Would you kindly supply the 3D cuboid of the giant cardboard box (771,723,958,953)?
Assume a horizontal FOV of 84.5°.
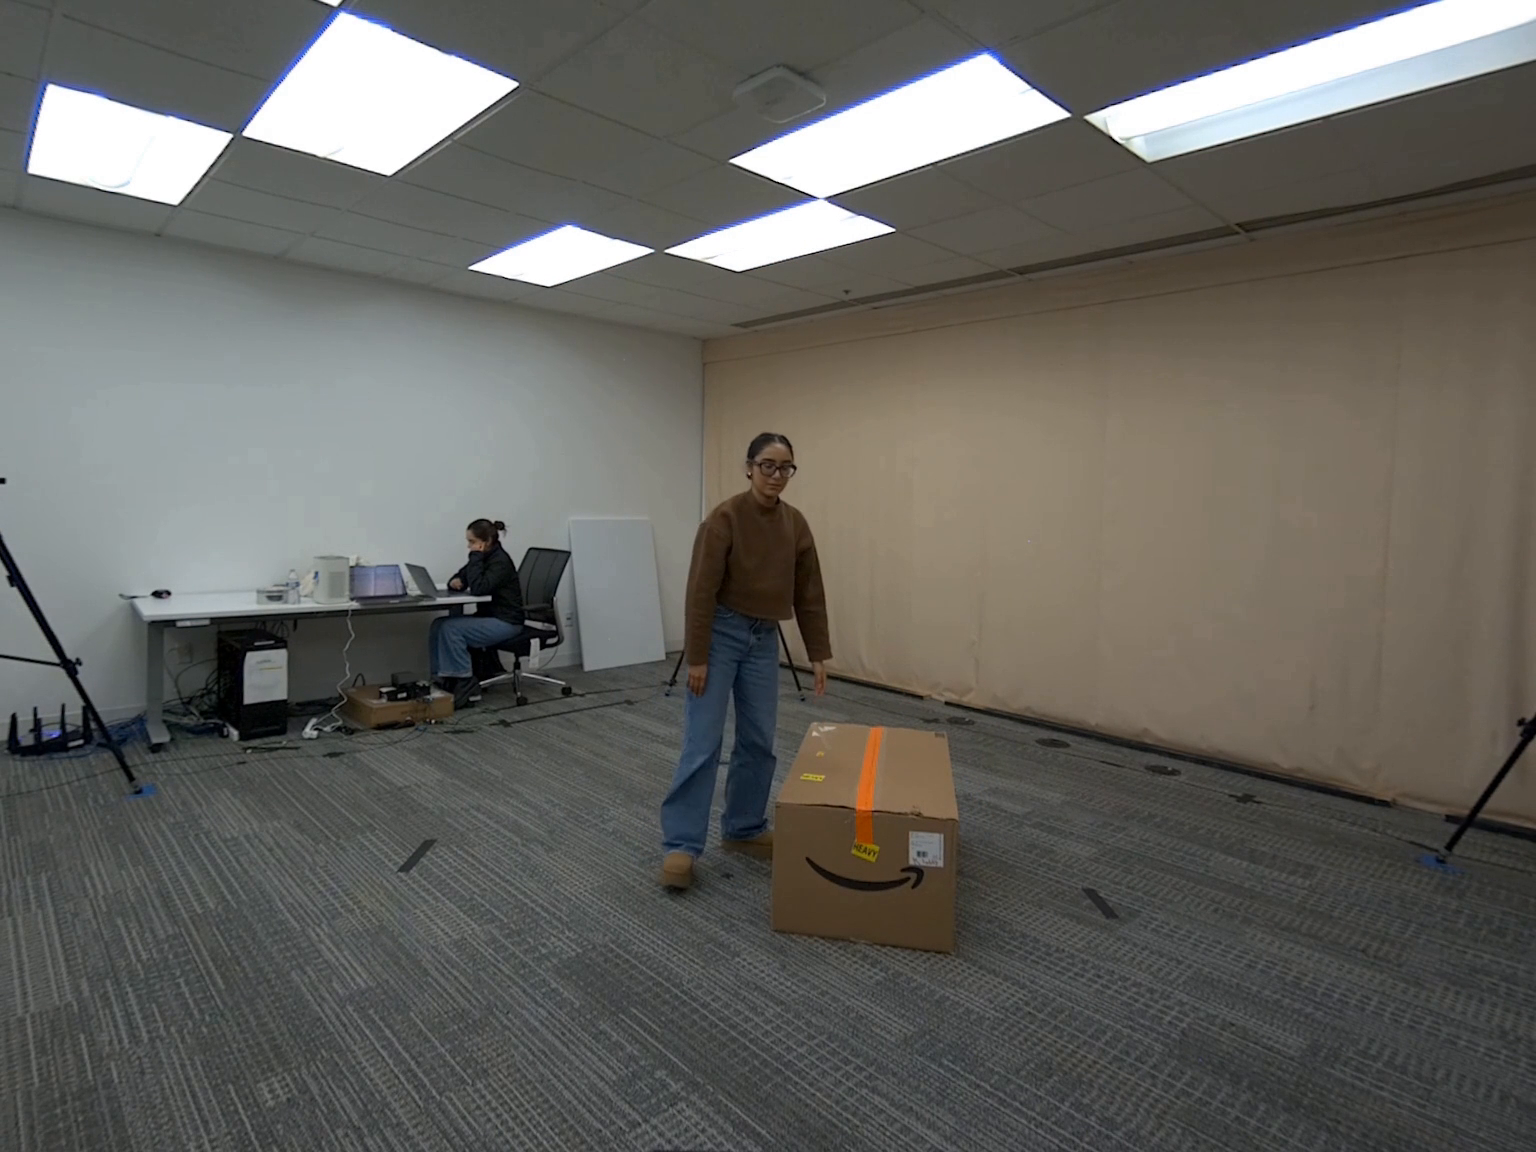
[{"bbox_3d":[0.379,0.900,3.139,0.582,0.425,1.020,2,5,10],"label":"giant cardboard box"}]
